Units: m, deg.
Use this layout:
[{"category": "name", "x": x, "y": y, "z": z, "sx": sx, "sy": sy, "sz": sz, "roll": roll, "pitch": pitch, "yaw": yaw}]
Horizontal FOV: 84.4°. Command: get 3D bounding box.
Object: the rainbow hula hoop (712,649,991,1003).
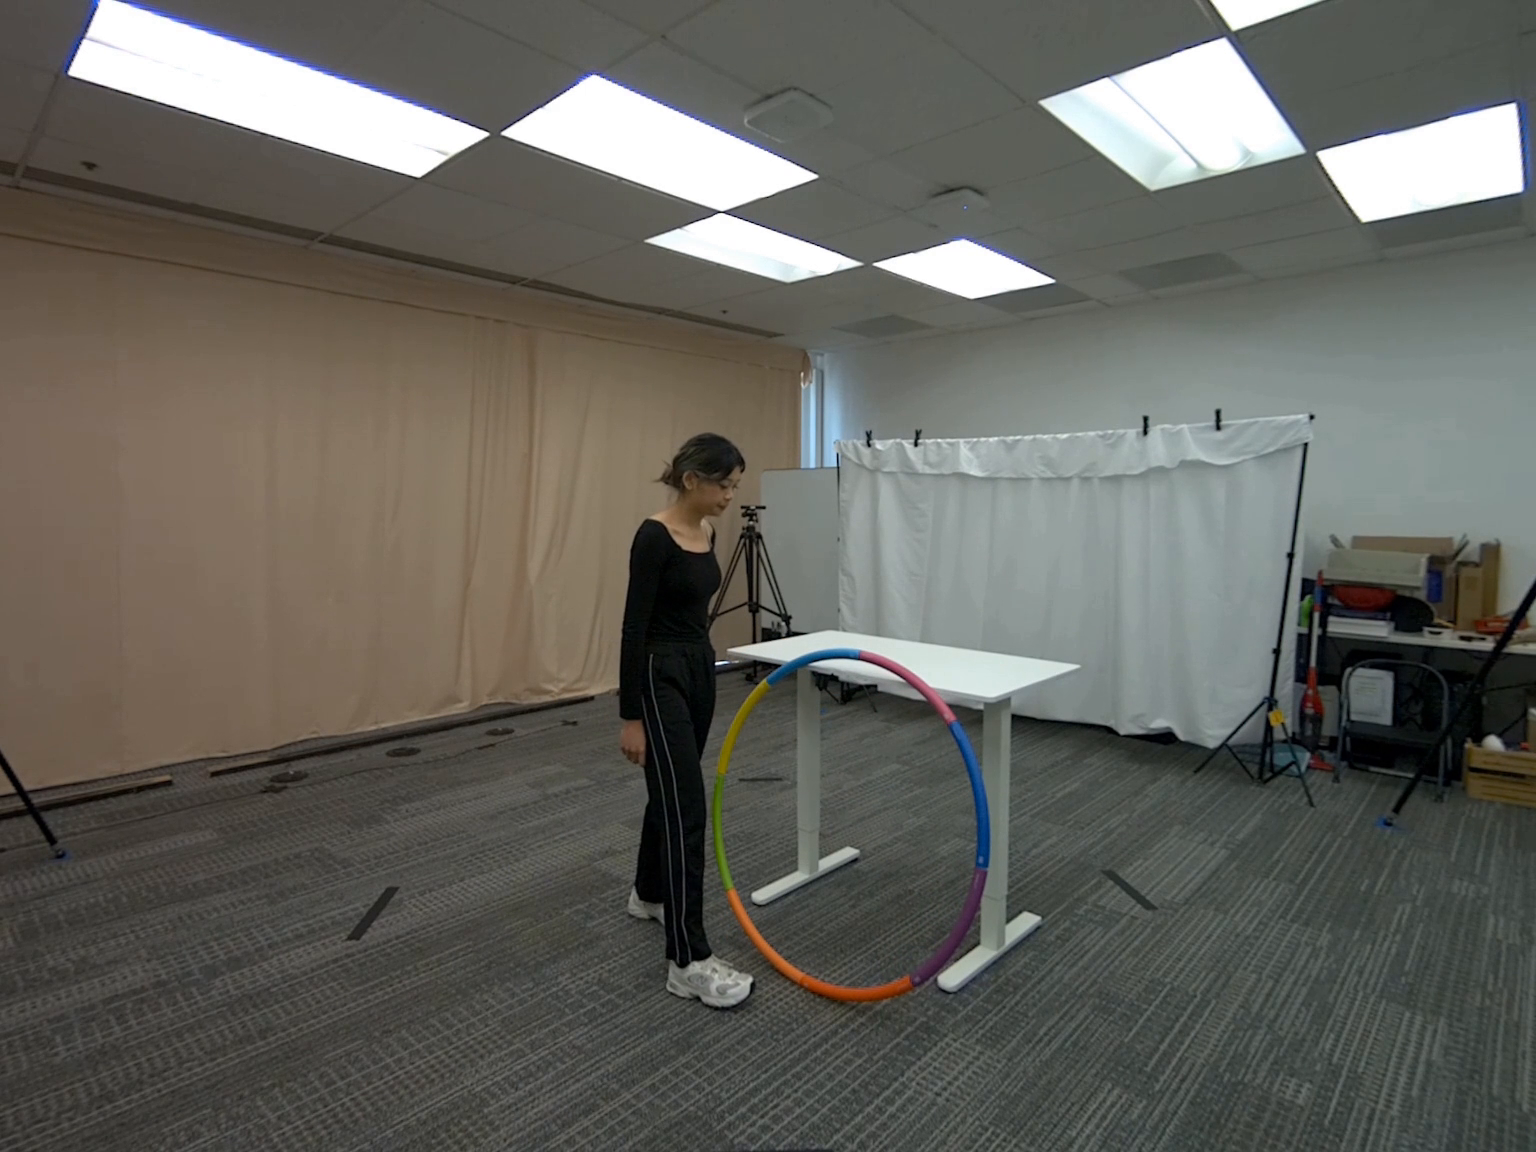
[{"category": "rainbow hula hoop", "x": 0.197, "y": 0.711, "z": 2.492, "sx": 1.011, "sy": 0.982, "sz": 0.034, "roll": 3, "pitch": -10, "yaw": 43}]
